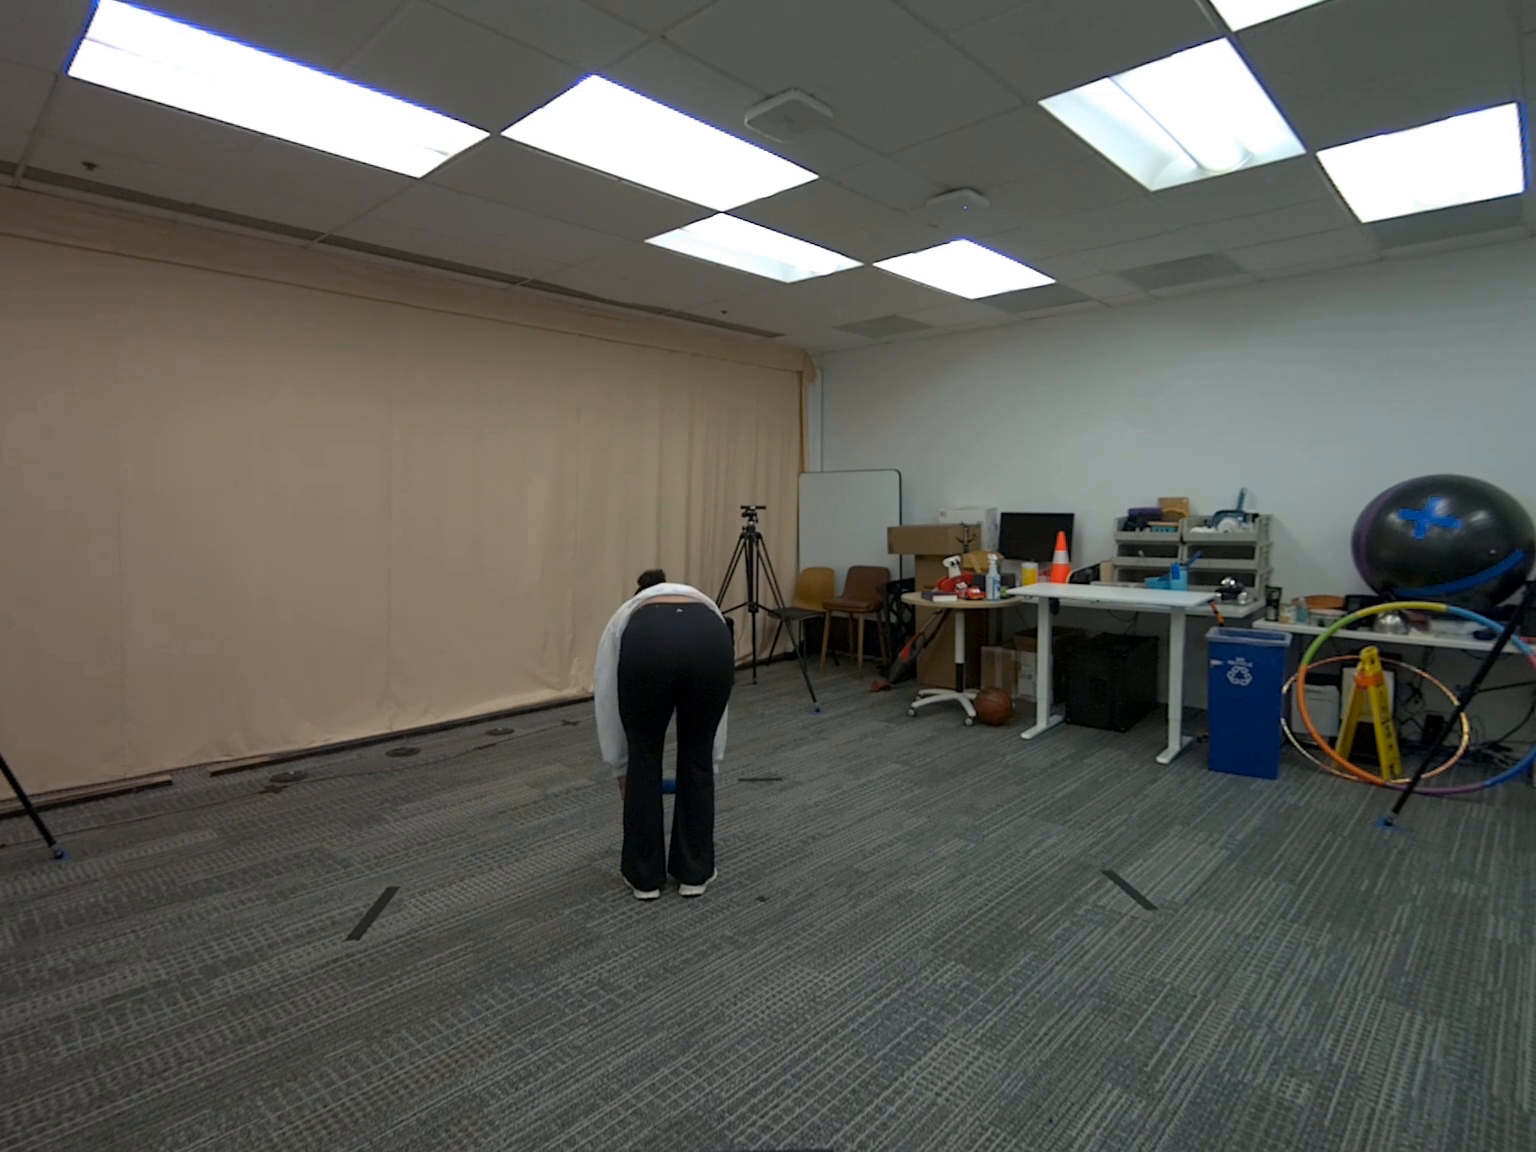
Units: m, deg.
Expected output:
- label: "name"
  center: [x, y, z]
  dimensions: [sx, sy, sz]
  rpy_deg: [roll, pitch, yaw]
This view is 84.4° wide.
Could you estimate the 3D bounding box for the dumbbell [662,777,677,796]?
- label: "dumbbell"
  center: [-0.395, 0.814, 3.228]
  dimensions: [0.290, 0.121, 0.111]
  rpy_deg: [3, 45, -9]
